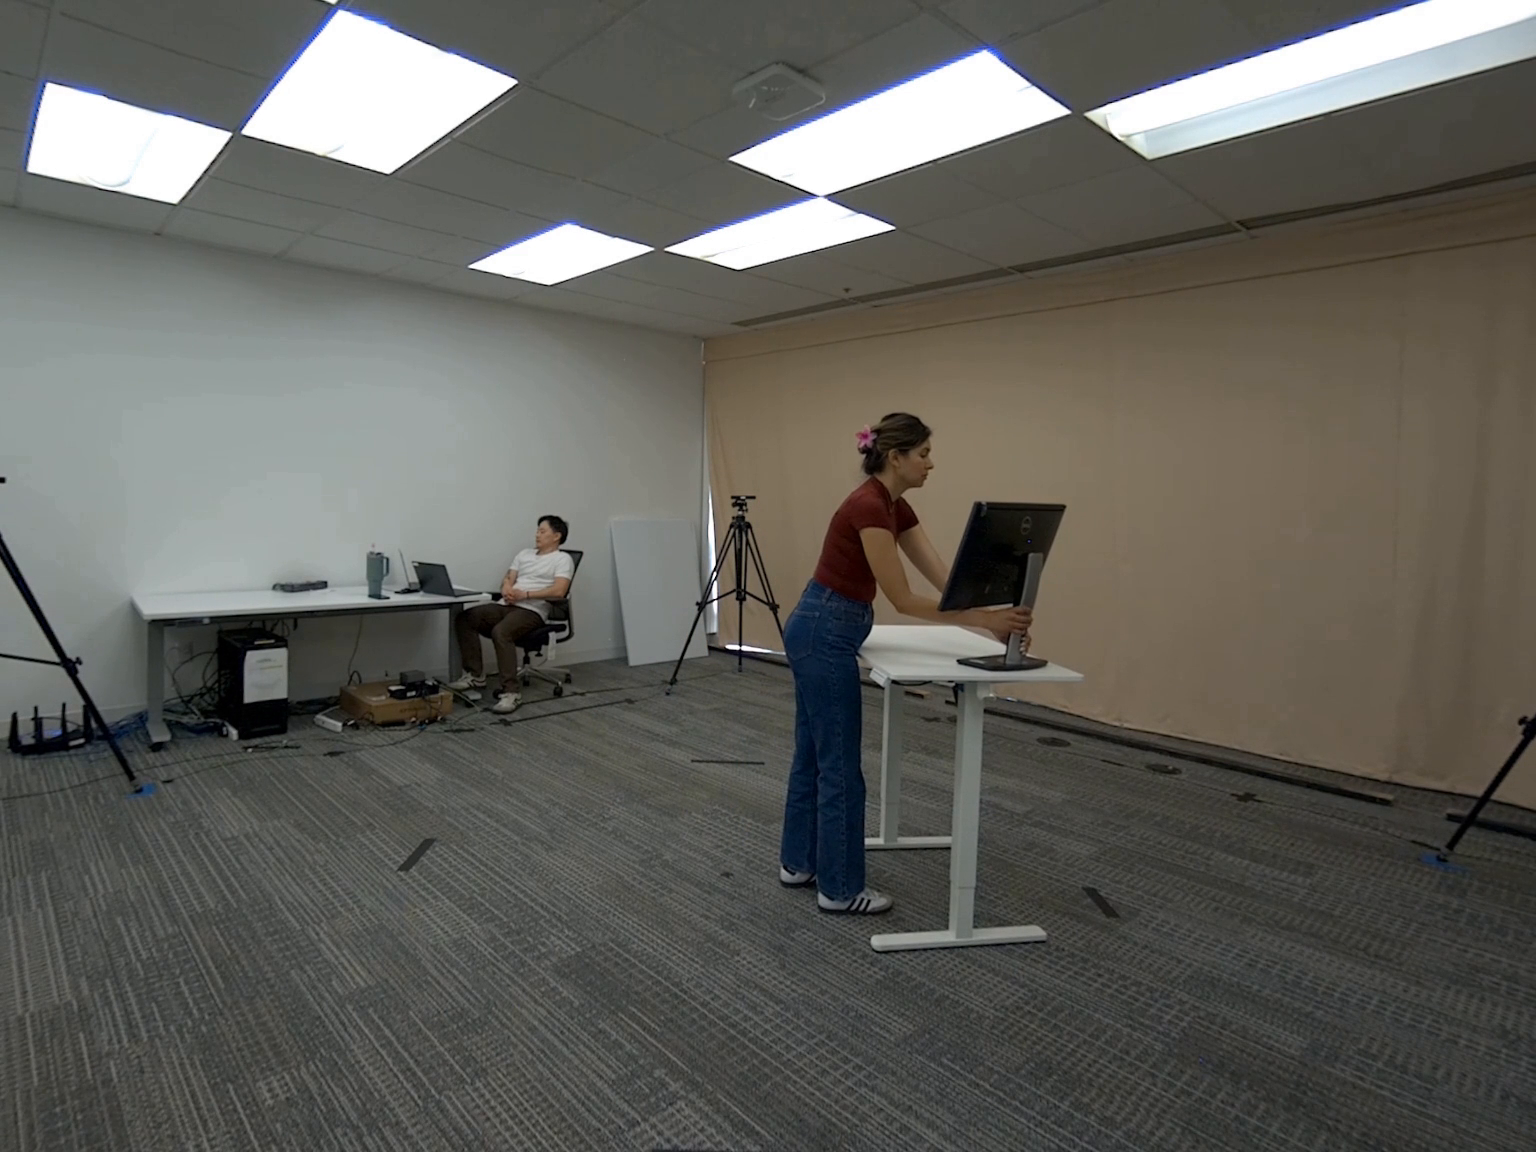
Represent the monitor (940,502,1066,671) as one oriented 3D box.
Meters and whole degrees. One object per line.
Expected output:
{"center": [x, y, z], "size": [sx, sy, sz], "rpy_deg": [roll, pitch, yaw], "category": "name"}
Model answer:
{"center": [0.758, 0.027, 2.651], "size": [0.527, 0.520, 0.192], "rpy_deg": [-2, 9, -44], "category": "monitor"}
